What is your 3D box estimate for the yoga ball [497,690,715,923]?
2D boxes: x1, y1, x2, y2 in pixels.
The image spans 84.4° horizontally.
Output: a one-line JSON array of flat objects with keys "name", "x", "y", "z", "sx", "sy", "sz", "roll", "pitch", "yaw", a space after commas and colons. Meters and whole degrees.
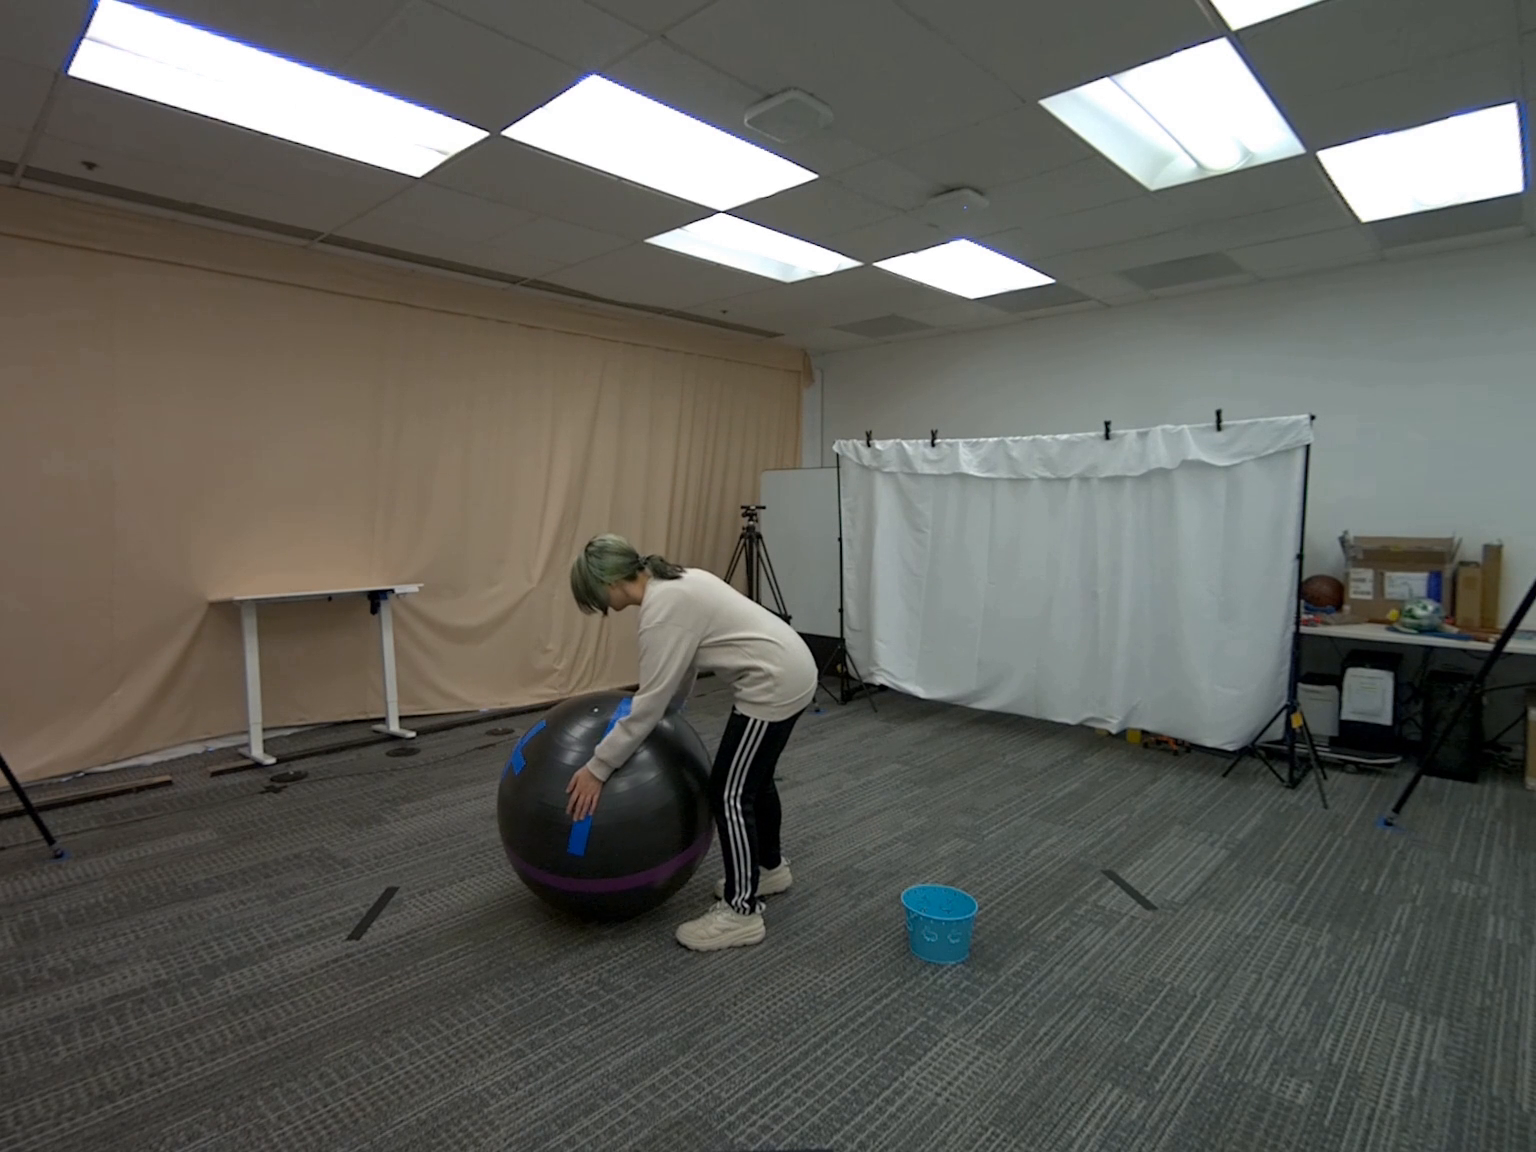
[{"name": "yoga ball", "x": -0.557, "y": 0.780, "z": 2.922, "sx": 0.757, "sy": 0.756, "sz": 0.760, "roll": 0, "pitch": 4, "yaw": -2}]
